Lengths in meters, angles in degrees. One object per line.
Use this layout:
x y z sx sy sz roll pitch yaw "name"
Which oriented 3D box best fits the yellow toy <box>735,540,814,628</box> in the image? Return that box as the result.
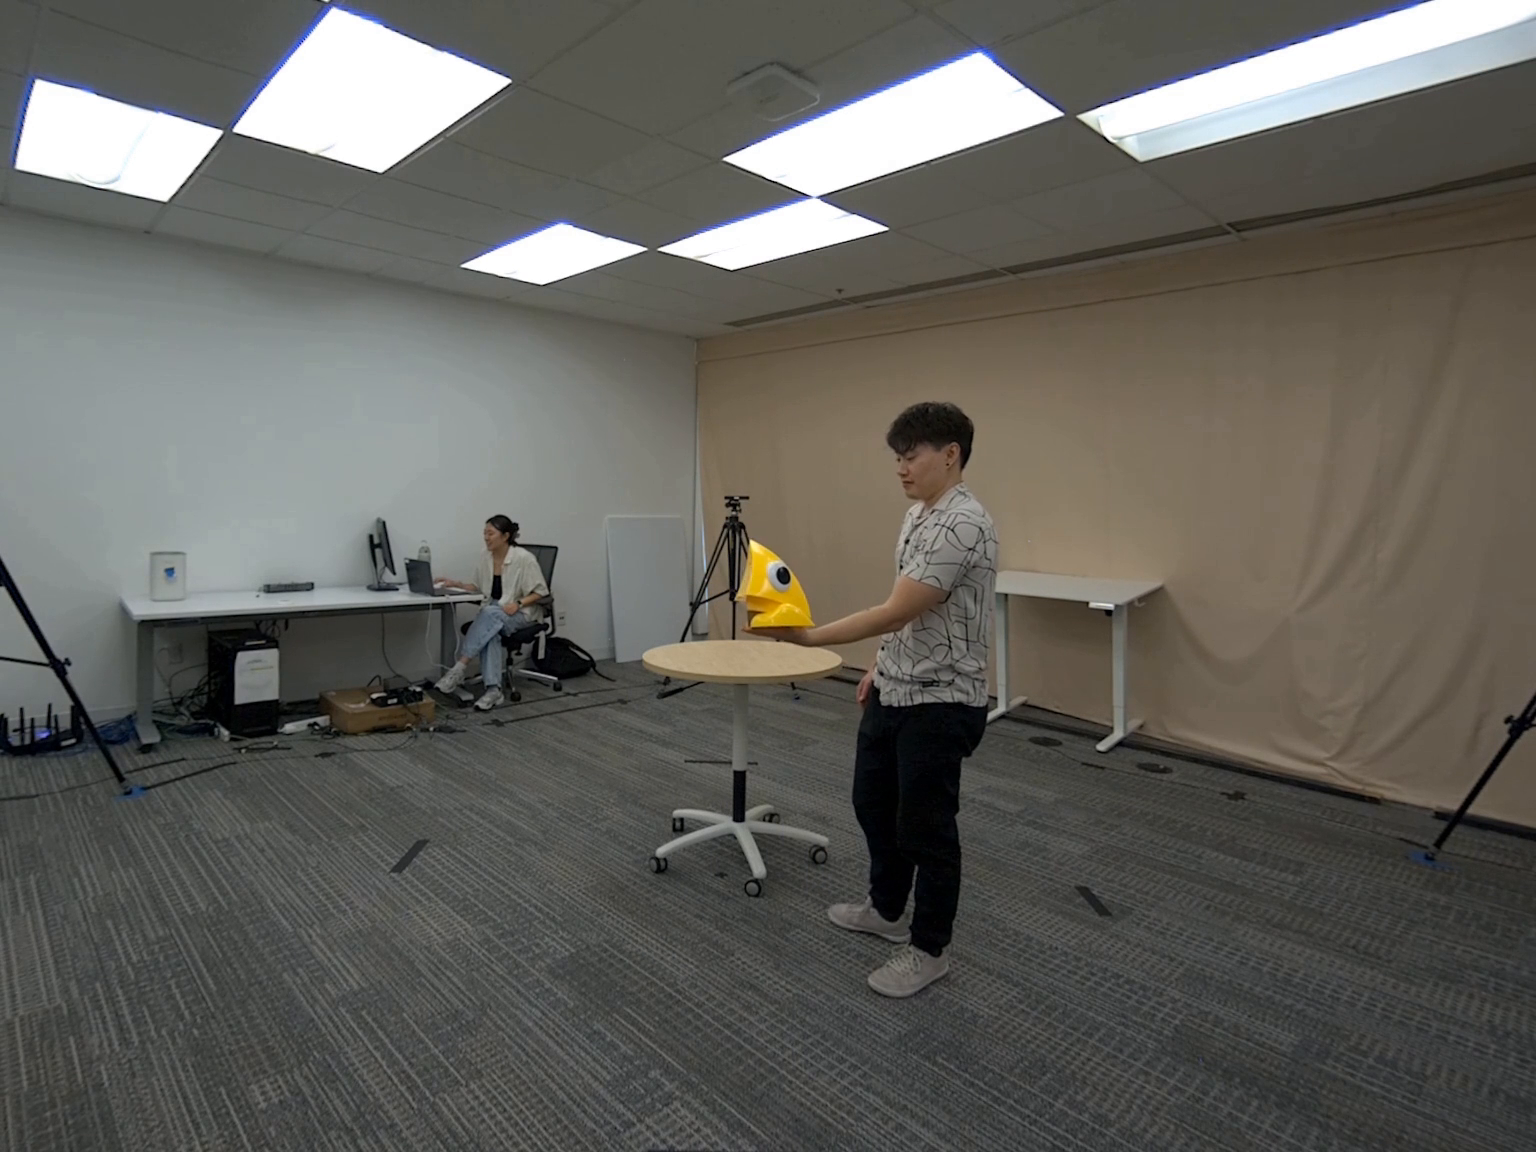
0.017 0.020 2.216 0.191 0.232 0.205 0 -7 -10 "yellow toy"
